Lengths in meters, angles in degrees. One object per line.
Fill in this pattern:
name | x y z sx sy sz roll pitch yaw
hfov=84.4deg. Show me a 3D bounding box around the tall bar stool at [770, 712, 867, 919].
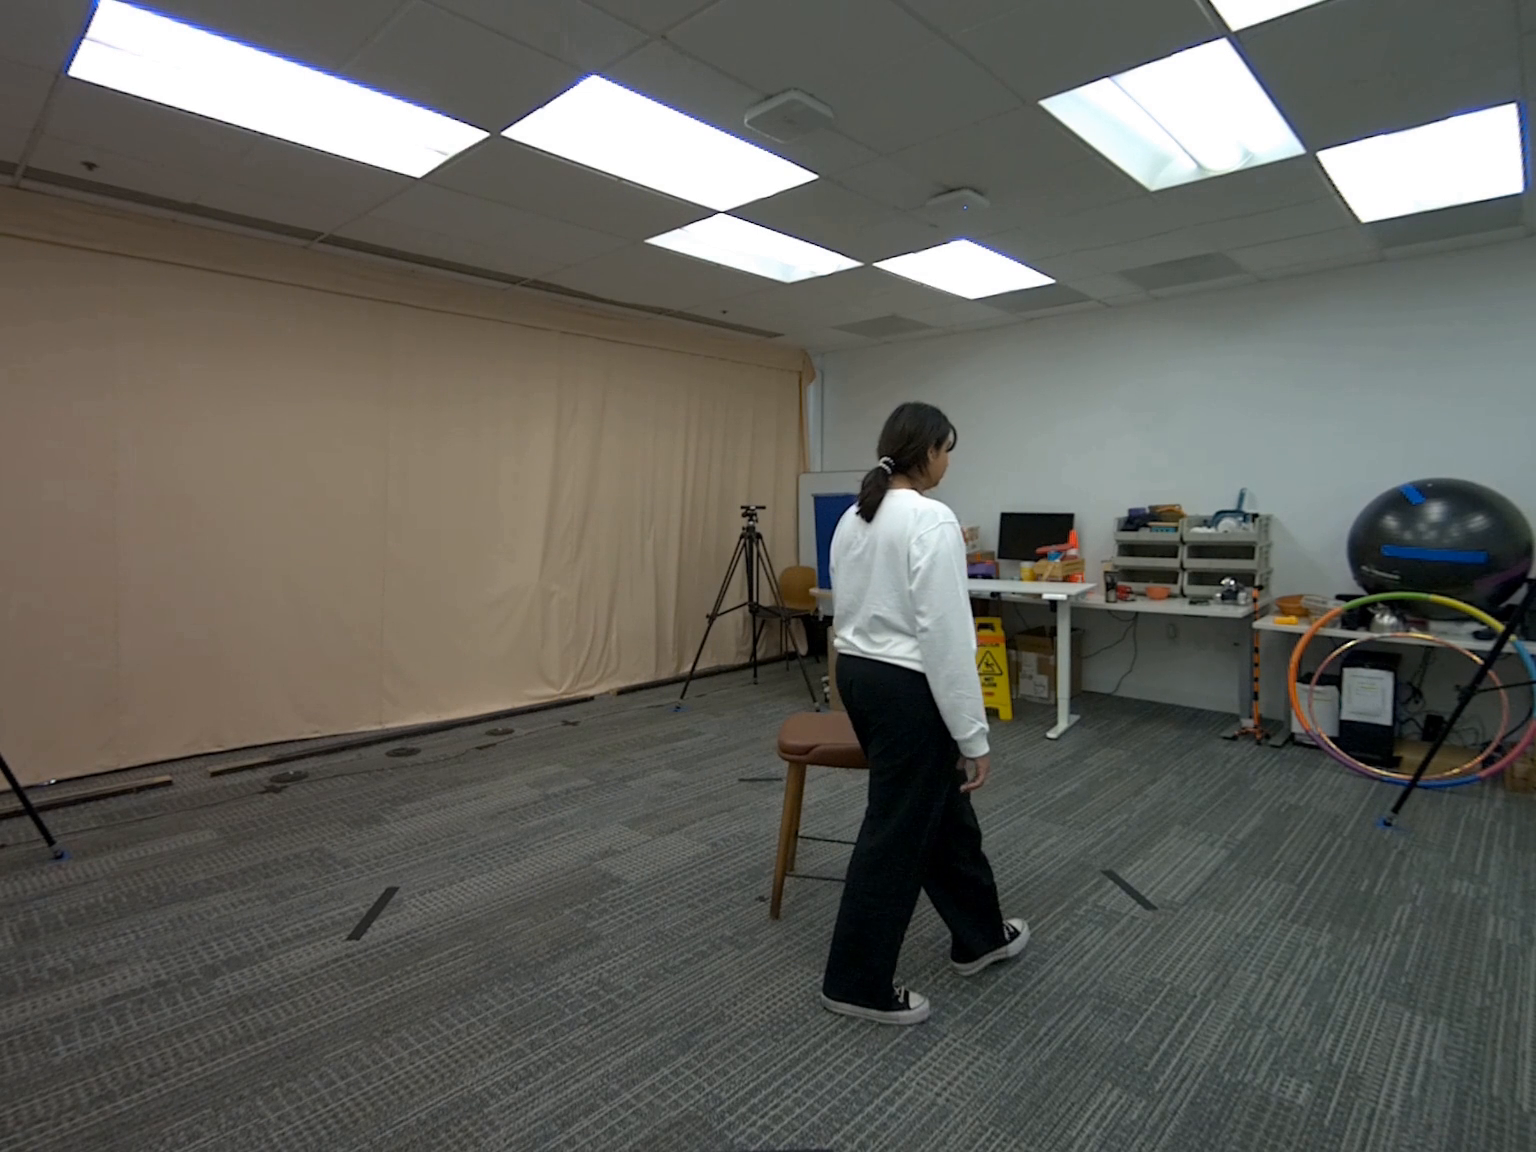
tall bar stool | 0.276 0.711 2.959 0.474 0.887 0.451 3 4 12
